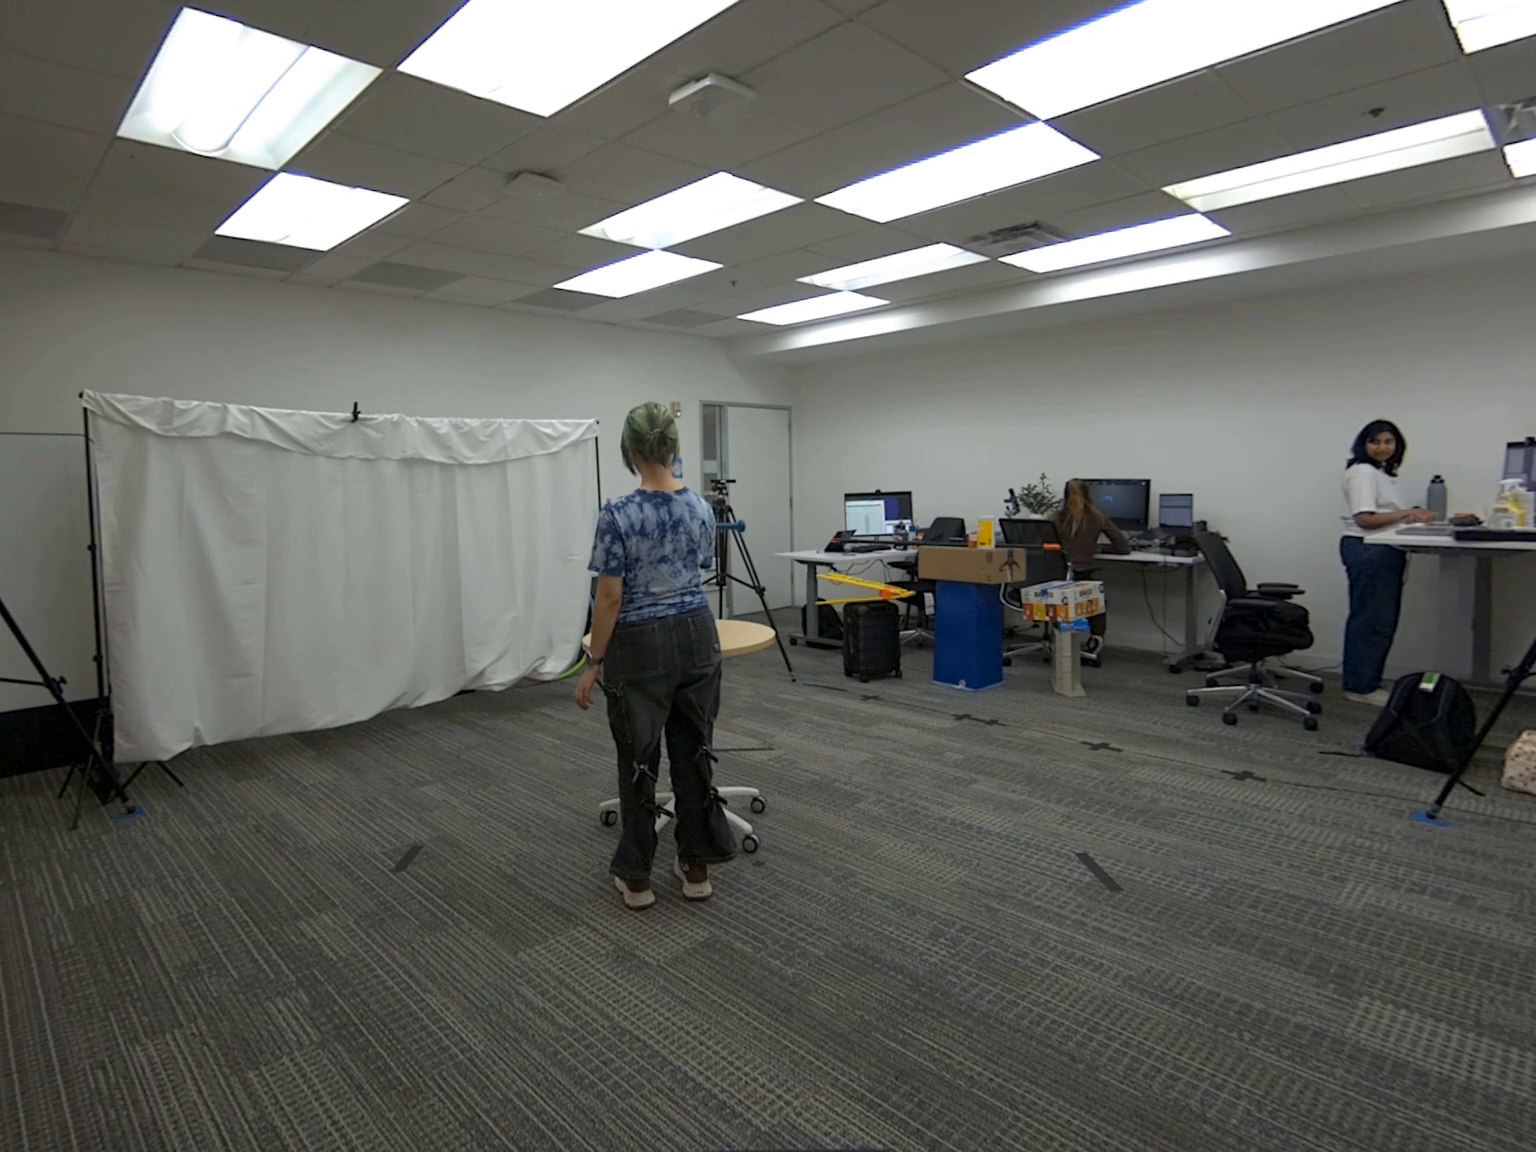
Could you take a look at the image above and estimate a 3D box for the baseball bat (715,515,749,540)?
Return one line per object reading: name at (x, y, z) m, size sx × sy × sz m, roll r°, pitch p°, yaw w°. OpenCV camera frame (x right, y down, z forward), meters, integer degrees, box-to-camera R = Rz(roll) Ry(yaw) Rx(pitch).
baseball bat at (-0.353, -0.194, 3.316) m, size 0.537 × 0.089 × 0.090 m, roll 0°, pitch 4°, yaw -11°
